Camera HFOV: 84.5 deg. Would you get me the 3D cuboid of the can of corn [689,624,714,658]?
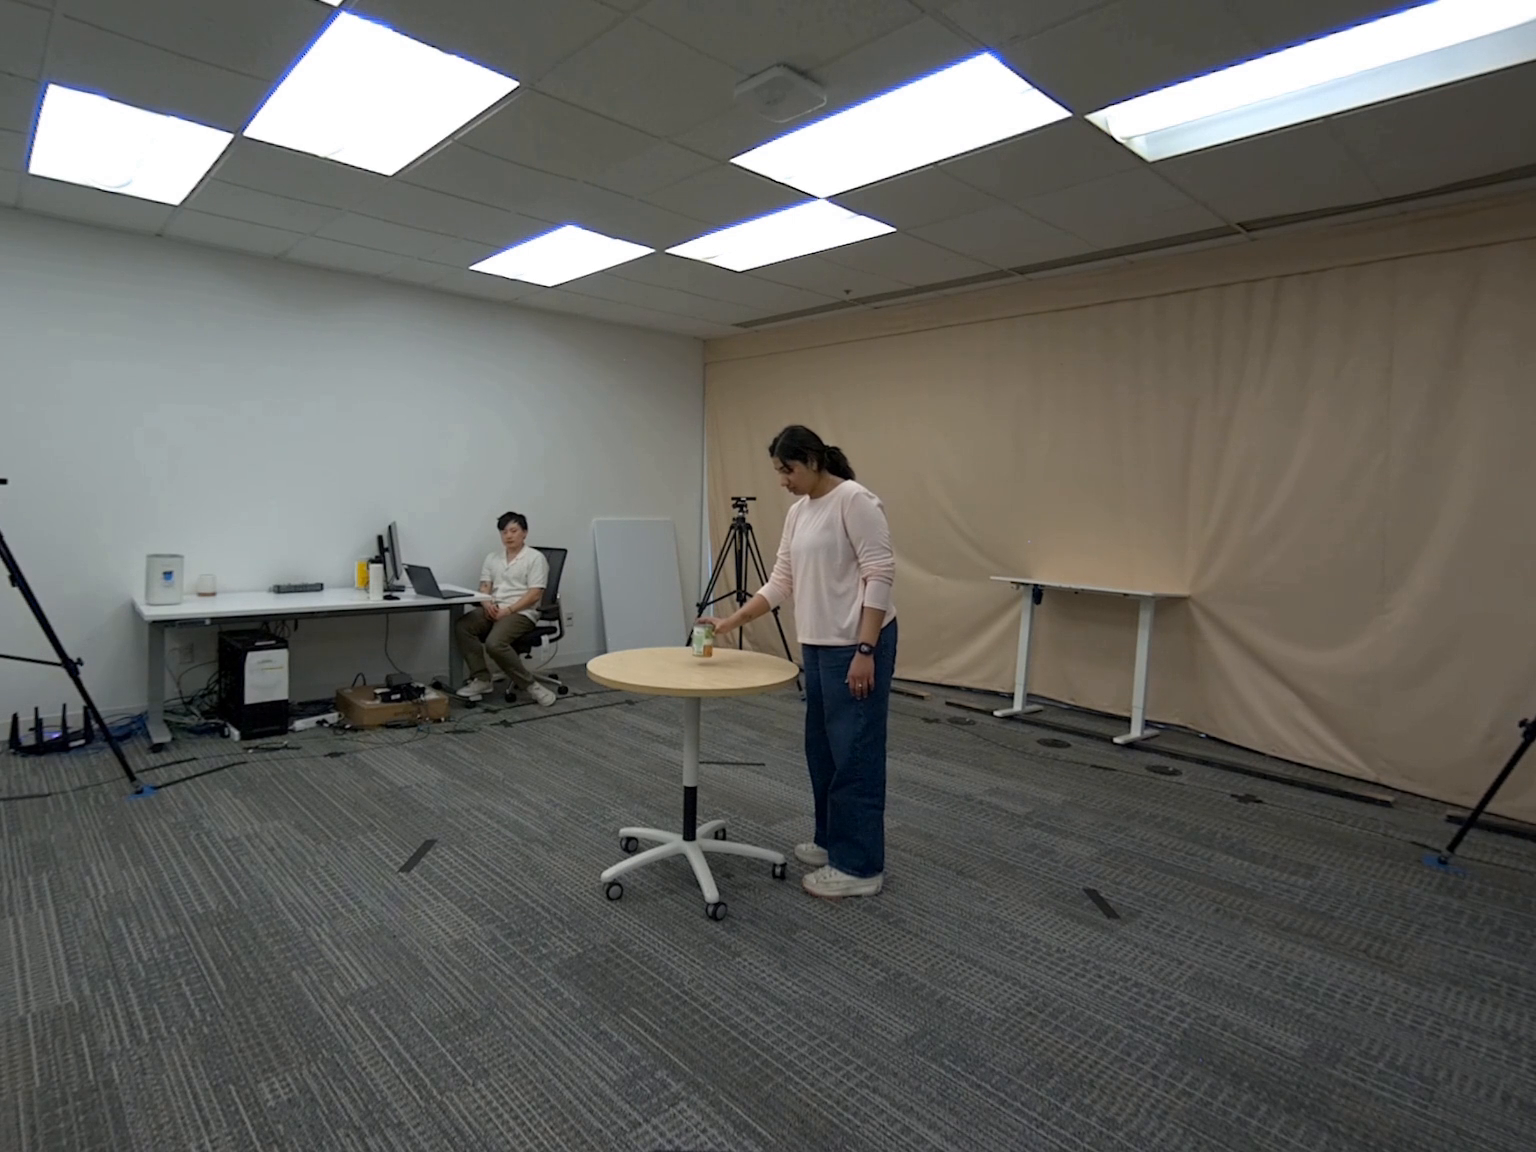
[{"bbox_3d":[-0.240,0.235,3.061,0.074,0.111,0.074,5,5,-2],"label":"can of corn"}]
